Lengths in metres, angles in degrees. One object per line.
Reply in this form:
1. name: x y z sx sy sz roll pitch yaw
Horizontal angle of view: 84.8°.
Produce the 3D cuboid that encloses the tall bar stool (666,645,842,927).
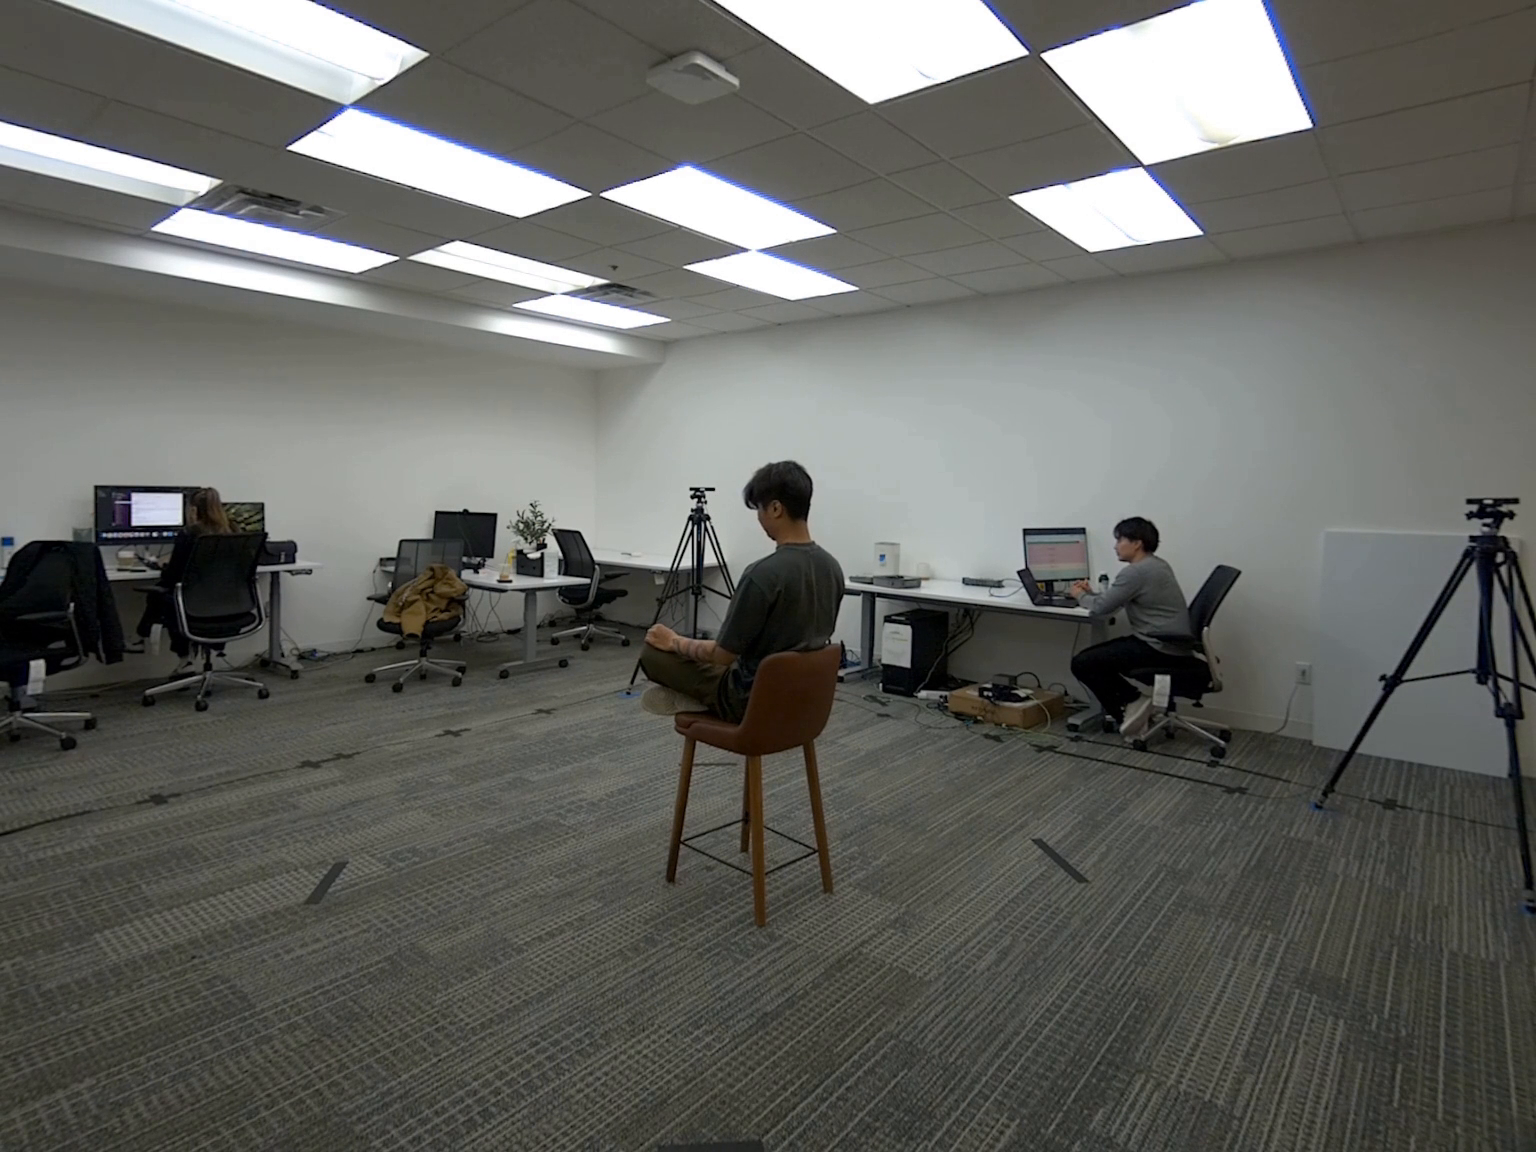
1. tall bar stool: -0.052 0.649 2.954 0.484 0.886 0.442 8 6 43
